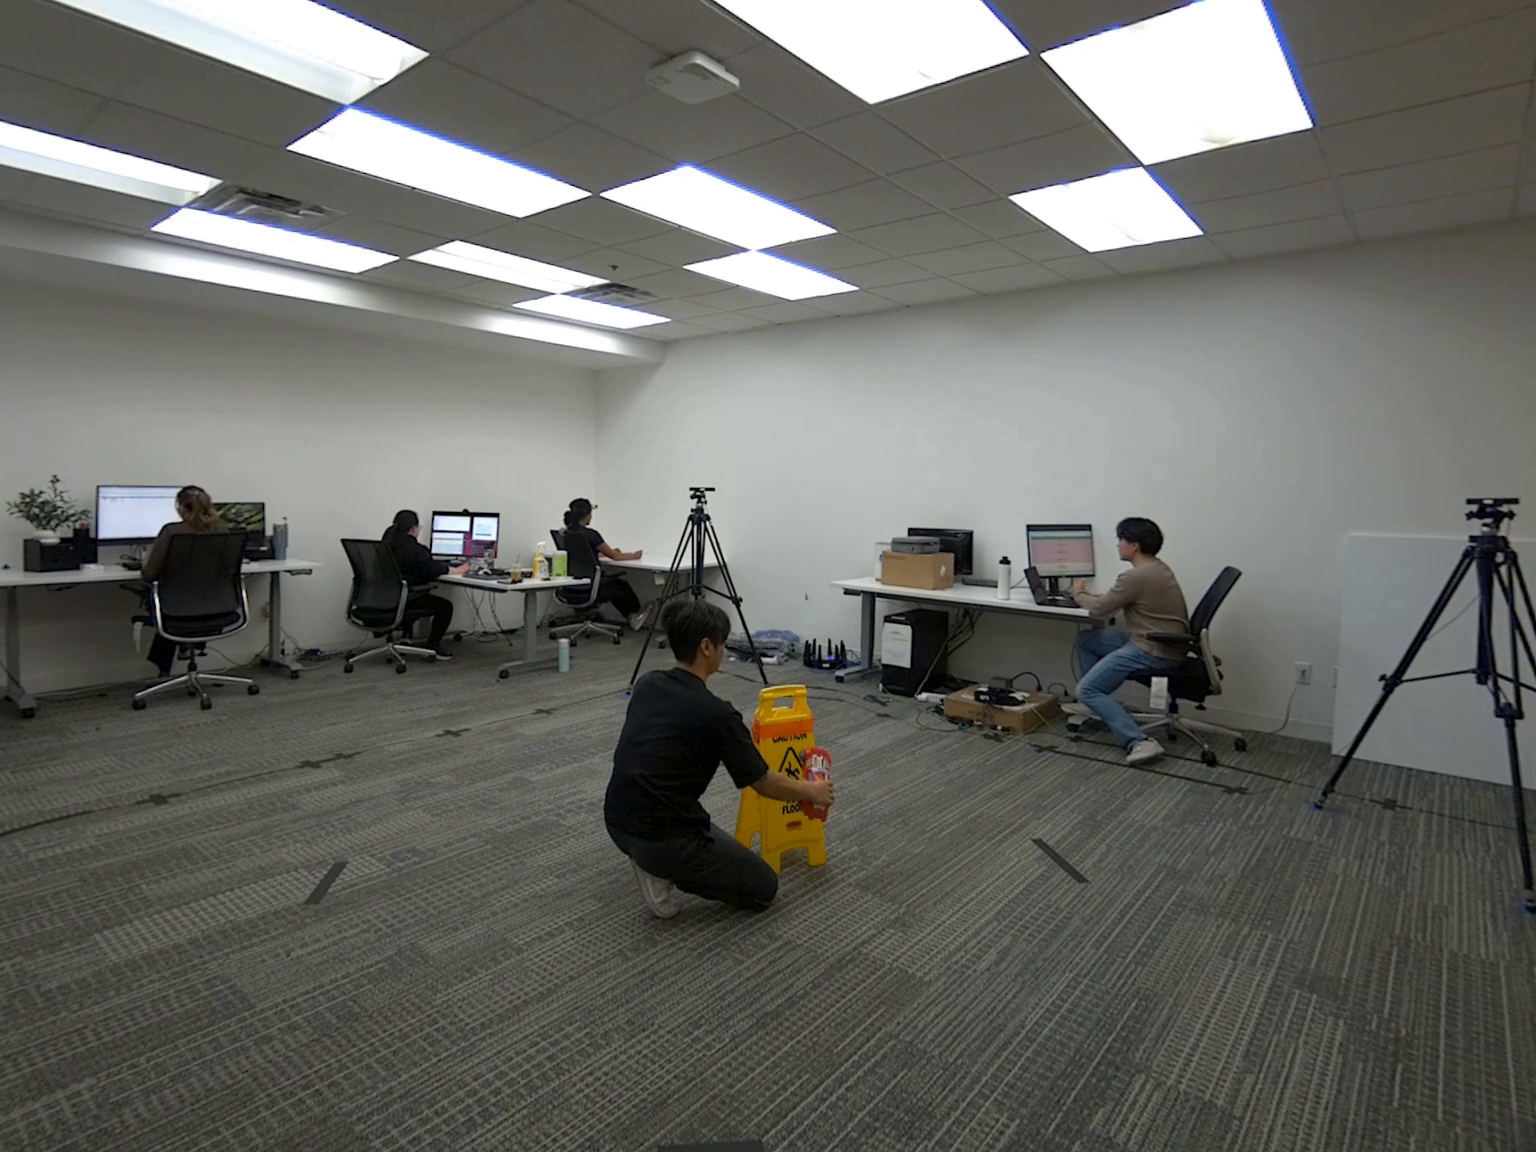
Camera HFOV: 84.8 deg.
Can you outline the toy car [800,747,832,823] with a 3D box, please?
[{"bbox_3d":[0.156,0.739,3.012,0.127,0.262,0.083,14,-39,-24],"label":"toy car"}]
